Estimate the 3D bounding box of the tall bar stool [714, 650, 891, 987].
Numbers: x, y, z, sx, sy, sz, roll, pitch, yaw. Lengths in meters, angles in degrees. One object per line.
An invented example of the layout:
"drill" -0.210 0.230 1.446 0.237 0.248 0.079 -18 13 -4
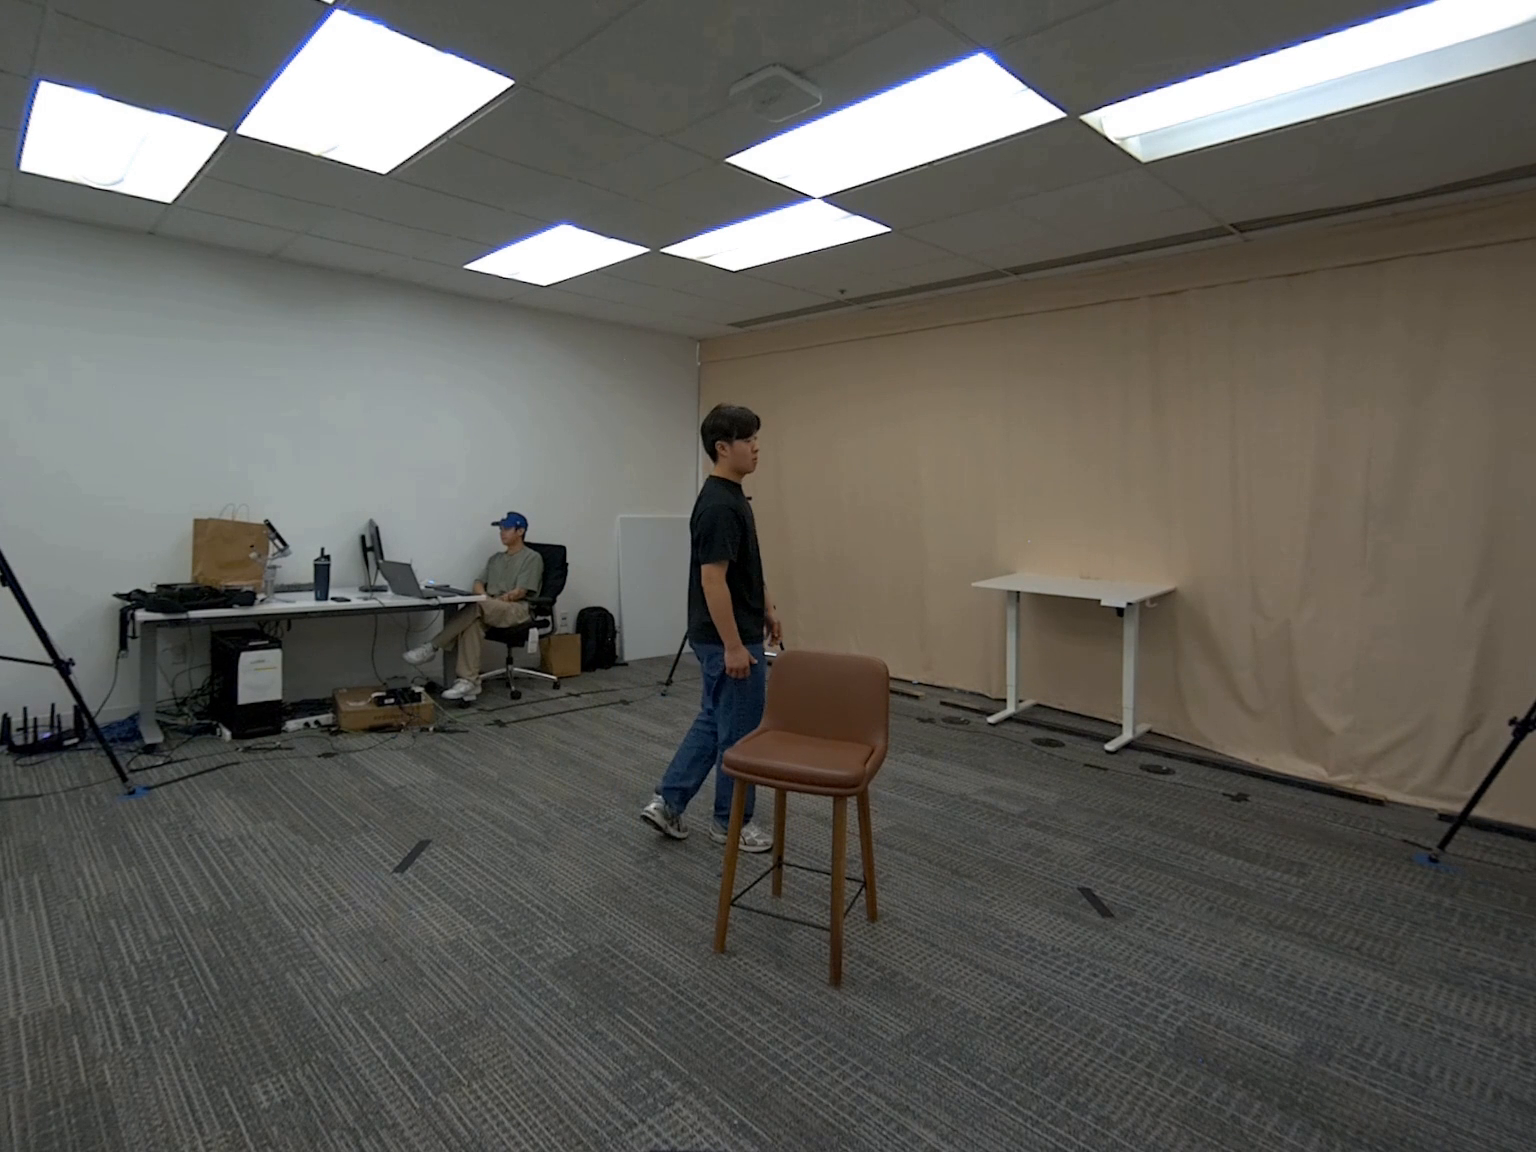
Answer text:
"tall bar stool" 0.122 0.718 2.666 0.465 0.888 0.459 3 2 26
